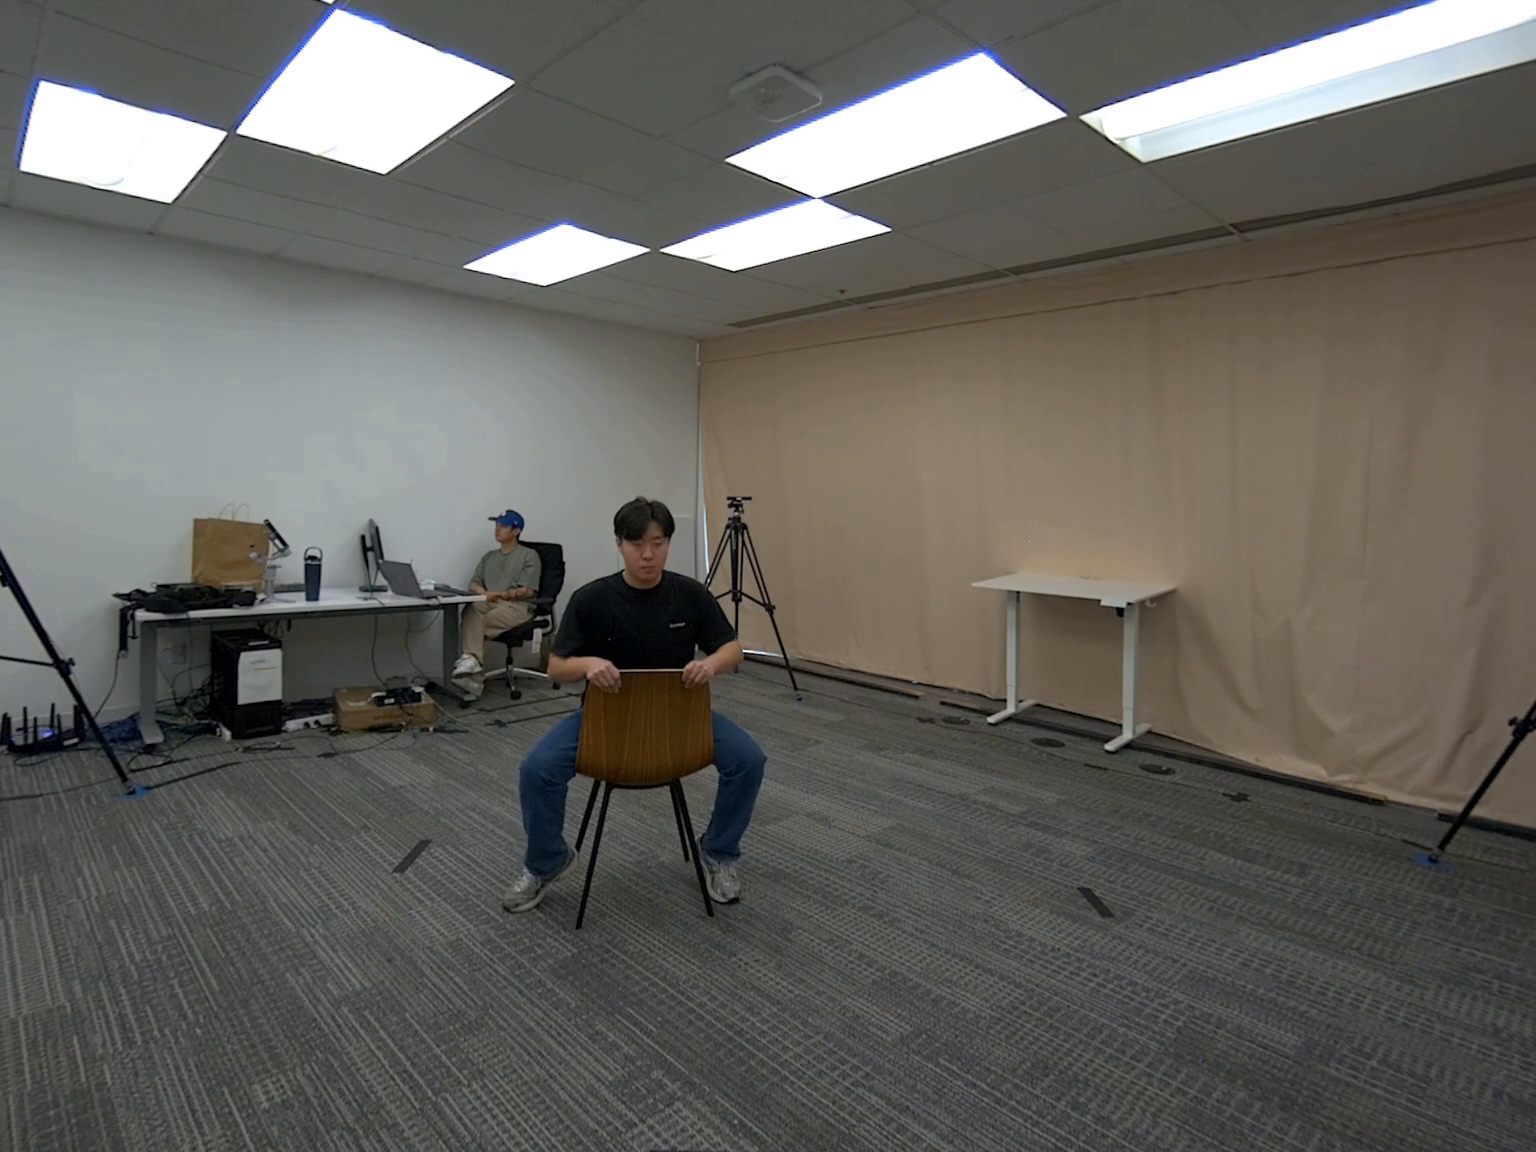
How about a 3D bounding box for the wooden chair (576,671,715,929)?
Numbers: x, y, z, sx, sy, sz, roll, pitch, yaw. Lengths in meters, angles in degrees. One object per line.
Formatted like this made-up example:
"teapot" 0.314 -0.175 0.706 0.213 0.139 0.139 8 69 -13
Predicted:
"wooden chair" -0.451 0.691 2.939 0.473 0.873 0.531 0 7 -14
